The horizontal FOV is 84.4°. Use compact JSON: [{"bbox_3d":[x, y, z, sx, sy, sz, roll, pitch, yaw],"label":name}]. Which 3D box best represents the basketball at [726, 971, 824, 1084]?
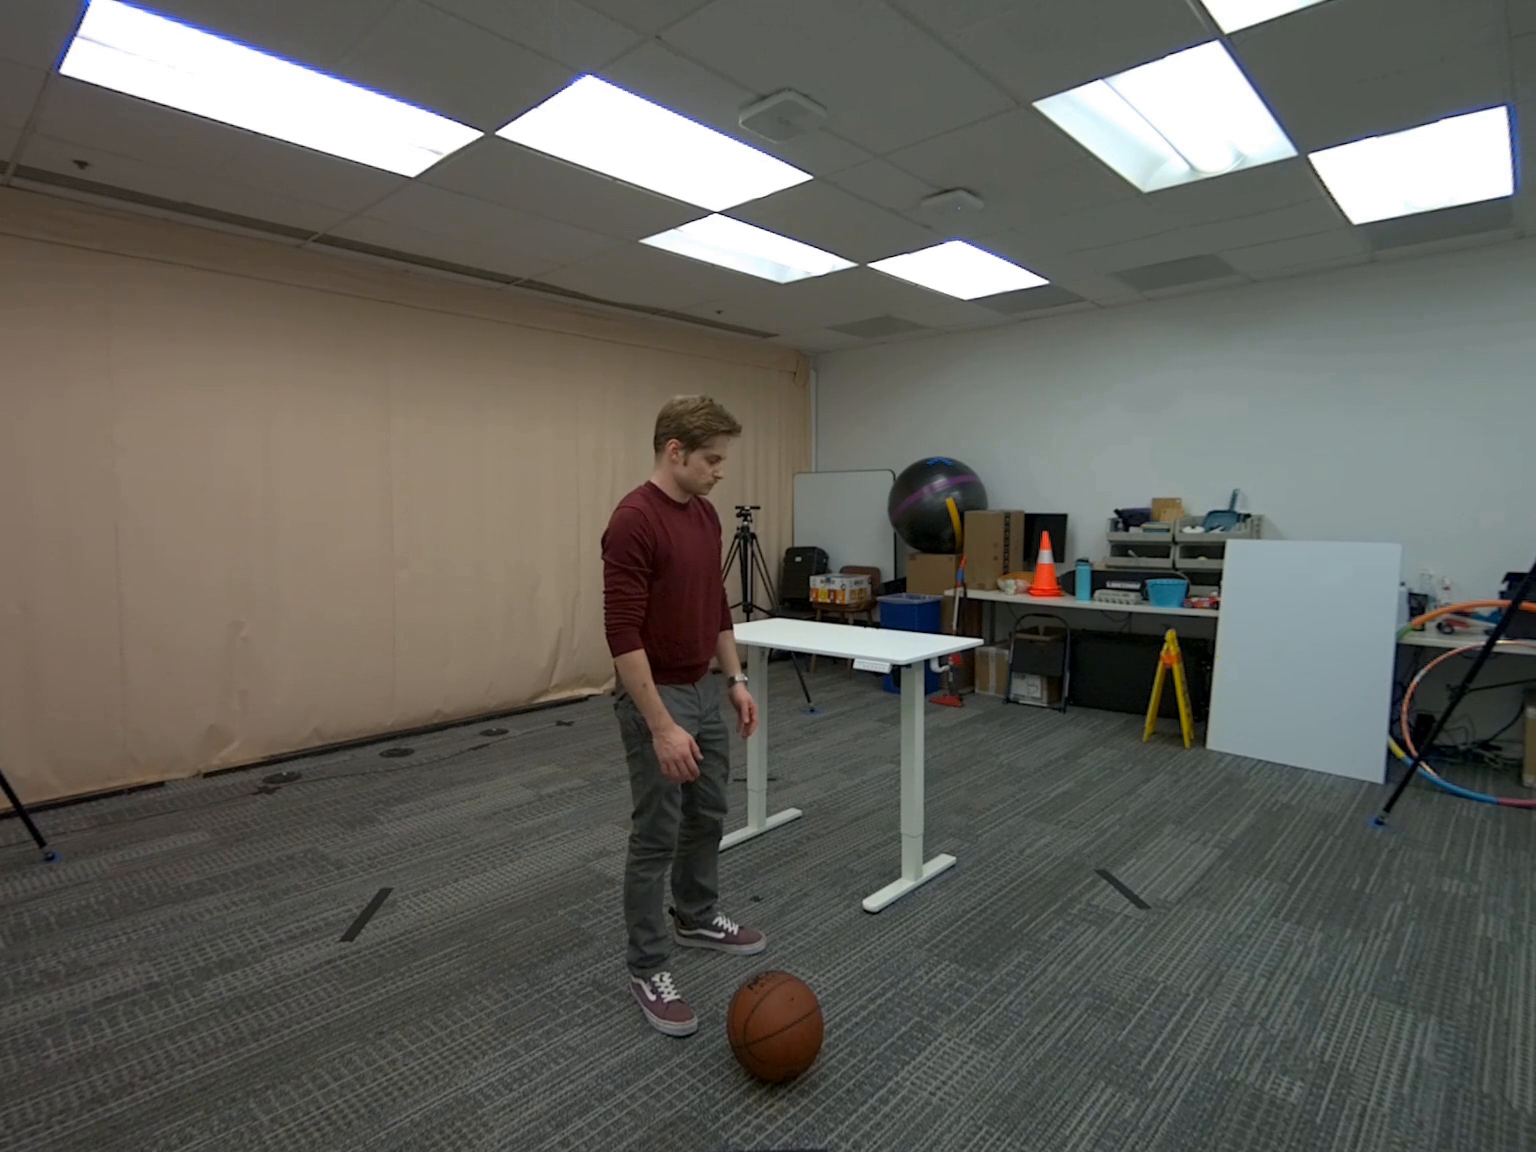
[{"bbox_3d":[0.020,1.107,2.054,0.236,0.235,0.237,0,4,-2],"label":"basketball"}]
